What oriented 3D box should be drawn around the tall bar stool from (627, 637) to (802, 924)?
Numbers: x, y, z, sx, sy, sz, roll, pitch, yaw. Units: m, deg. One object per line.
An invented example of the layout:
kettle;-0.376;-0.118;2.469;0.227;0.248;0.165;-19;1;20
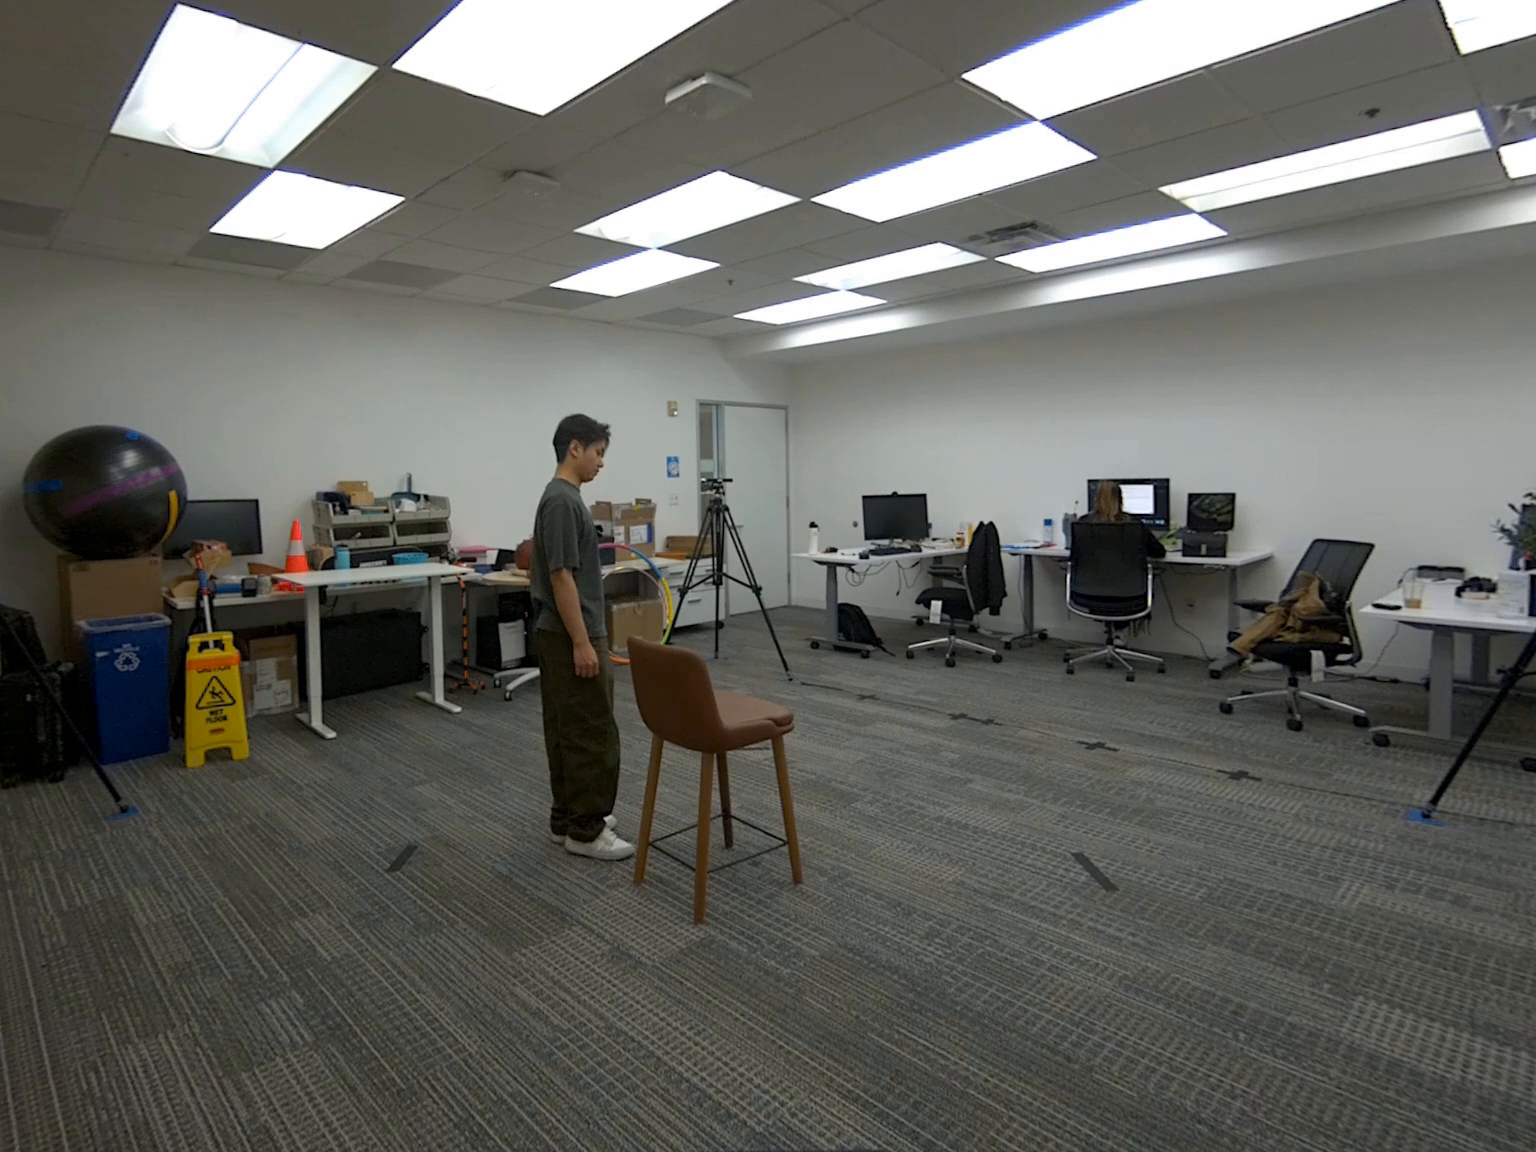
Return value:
tall bar stool;-0.186;0.632;2.934;0.456;0.885;0.470;-7;7;-39
